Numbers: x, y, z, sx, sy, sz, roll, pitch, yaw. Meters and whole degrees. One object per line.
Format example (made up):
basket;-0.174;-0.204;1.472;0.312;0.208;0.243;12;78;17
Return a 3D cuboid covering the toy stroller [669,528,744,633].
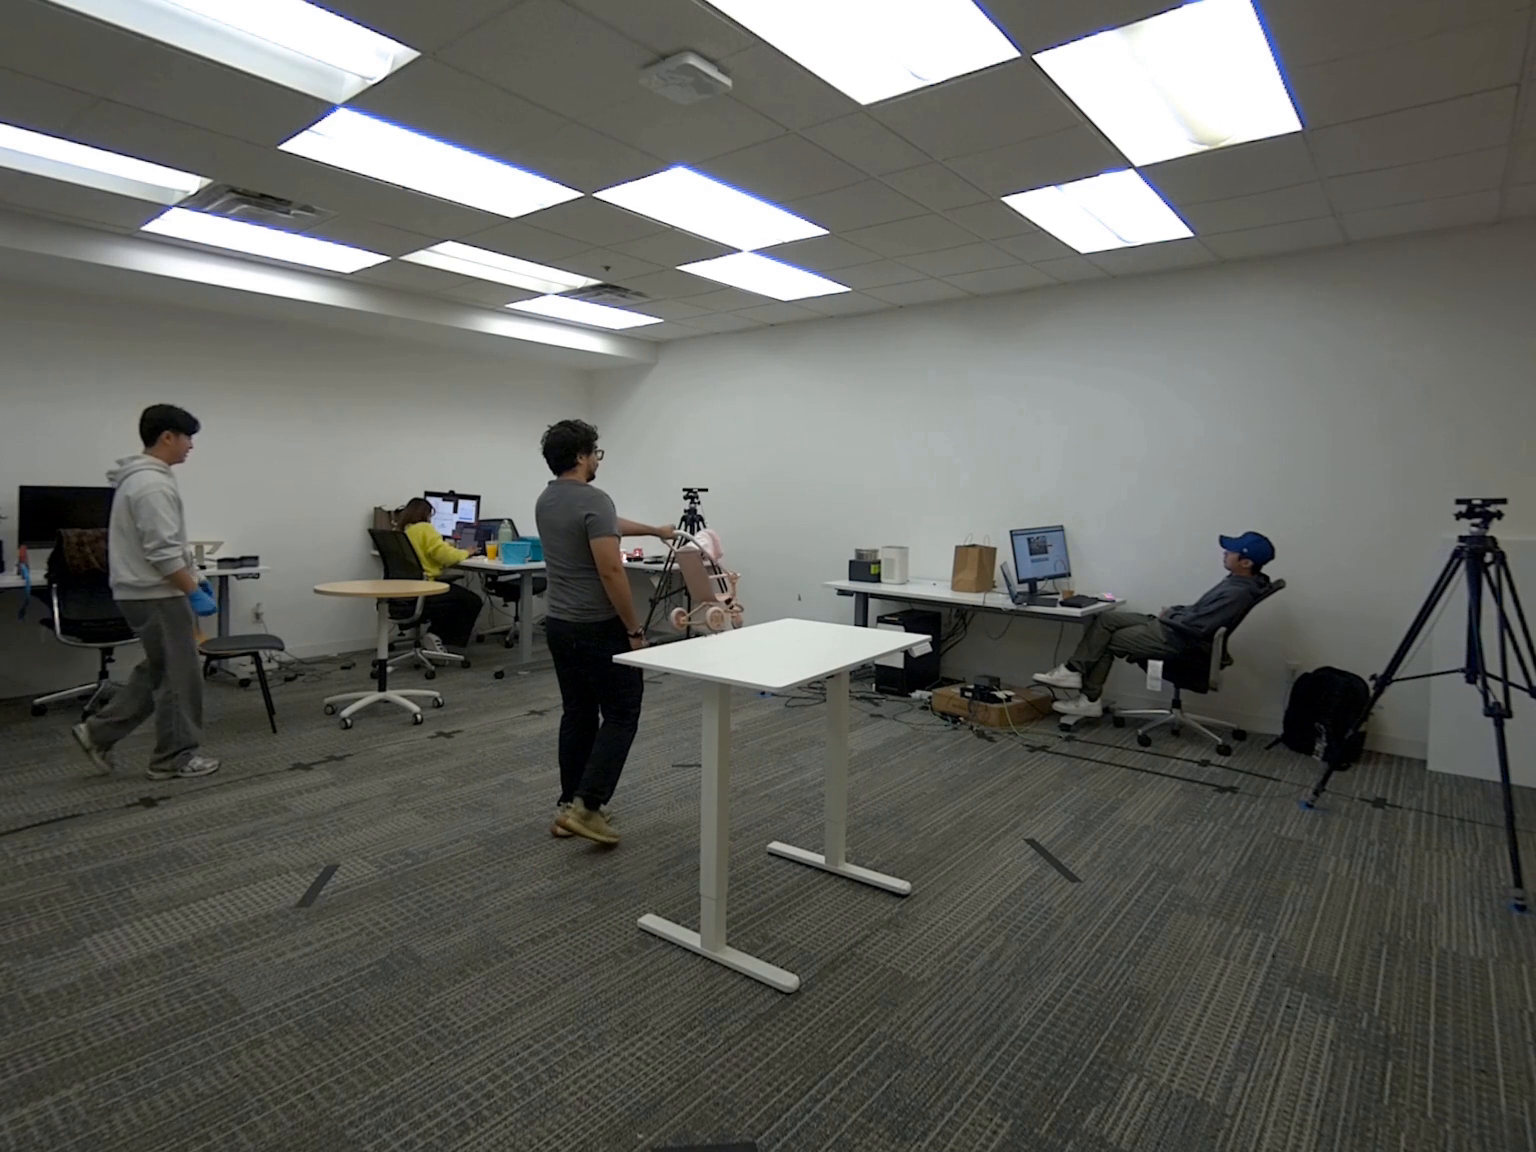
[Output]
toy stroller;-0.290;0.022;3.941;0.334;0.532;0.289;-16;6;-39
